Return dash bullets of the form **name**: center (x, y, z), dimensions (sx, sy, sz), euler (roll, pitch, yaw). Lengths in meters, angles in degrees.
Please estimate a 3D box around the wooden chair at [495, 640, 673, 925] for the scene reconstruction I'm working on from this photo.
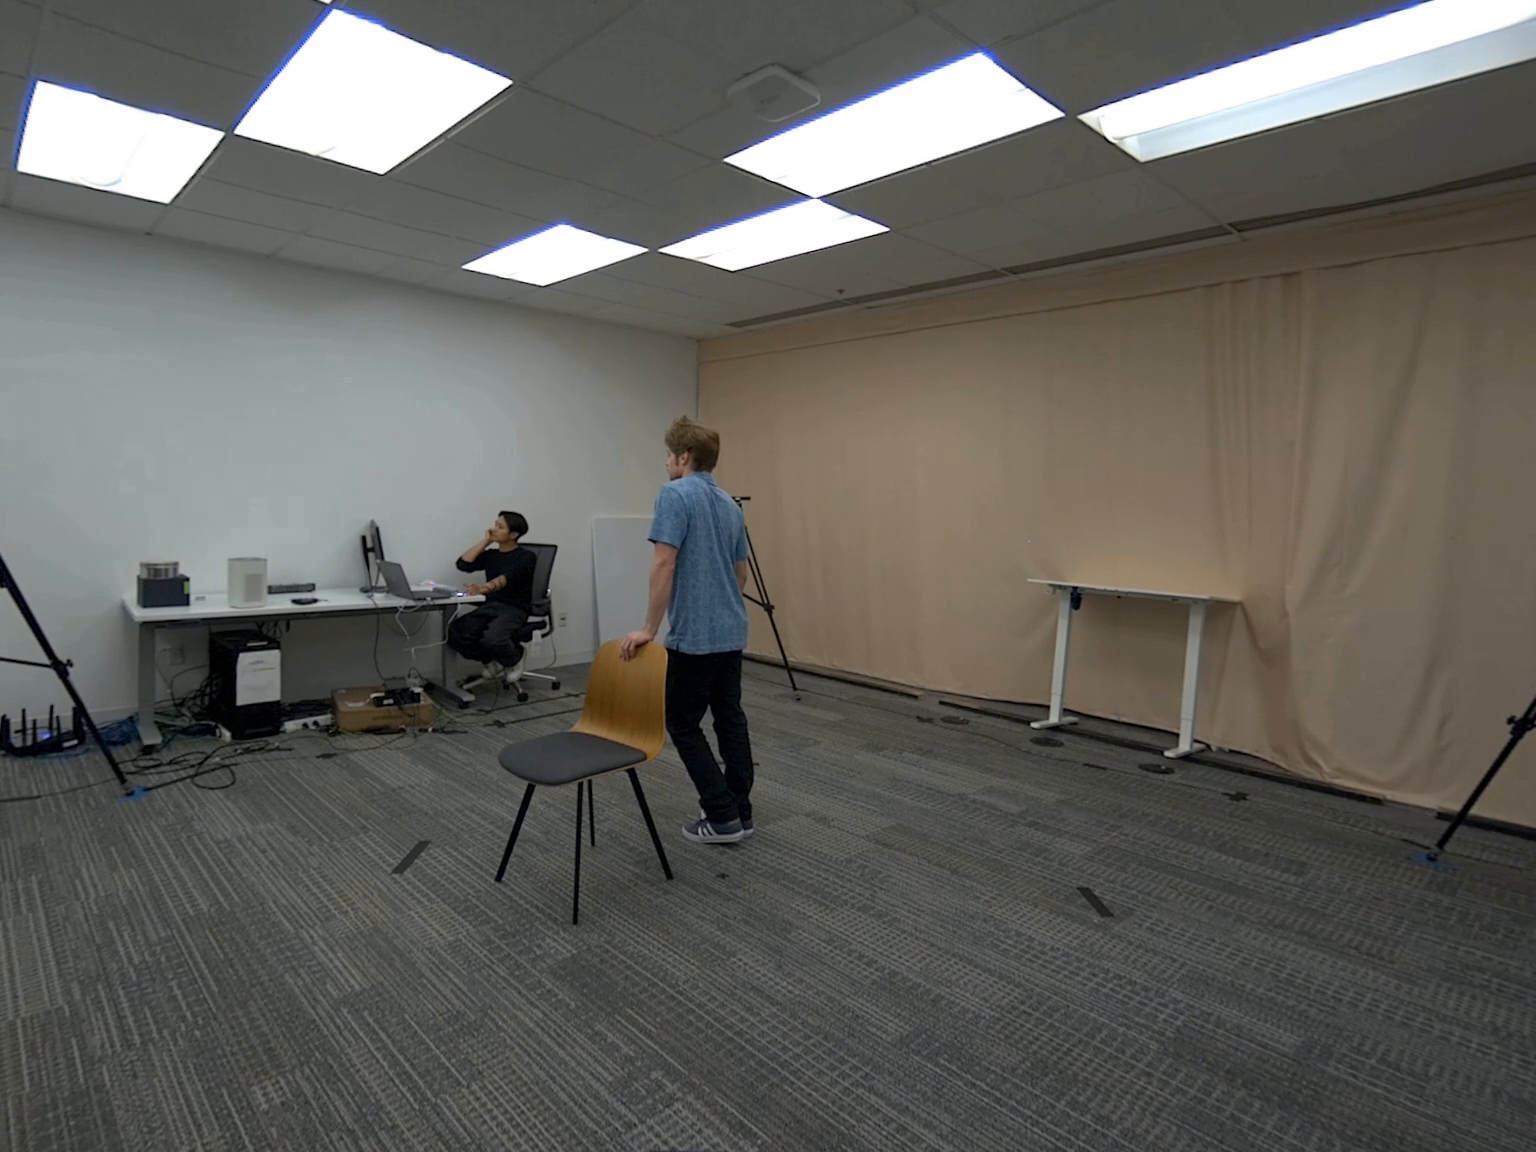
- **wooden chair**: center (-0.656, 0.676, 3.000), dimensions (0.490, 0.877, 0.510), euler (5, 0, 40)
